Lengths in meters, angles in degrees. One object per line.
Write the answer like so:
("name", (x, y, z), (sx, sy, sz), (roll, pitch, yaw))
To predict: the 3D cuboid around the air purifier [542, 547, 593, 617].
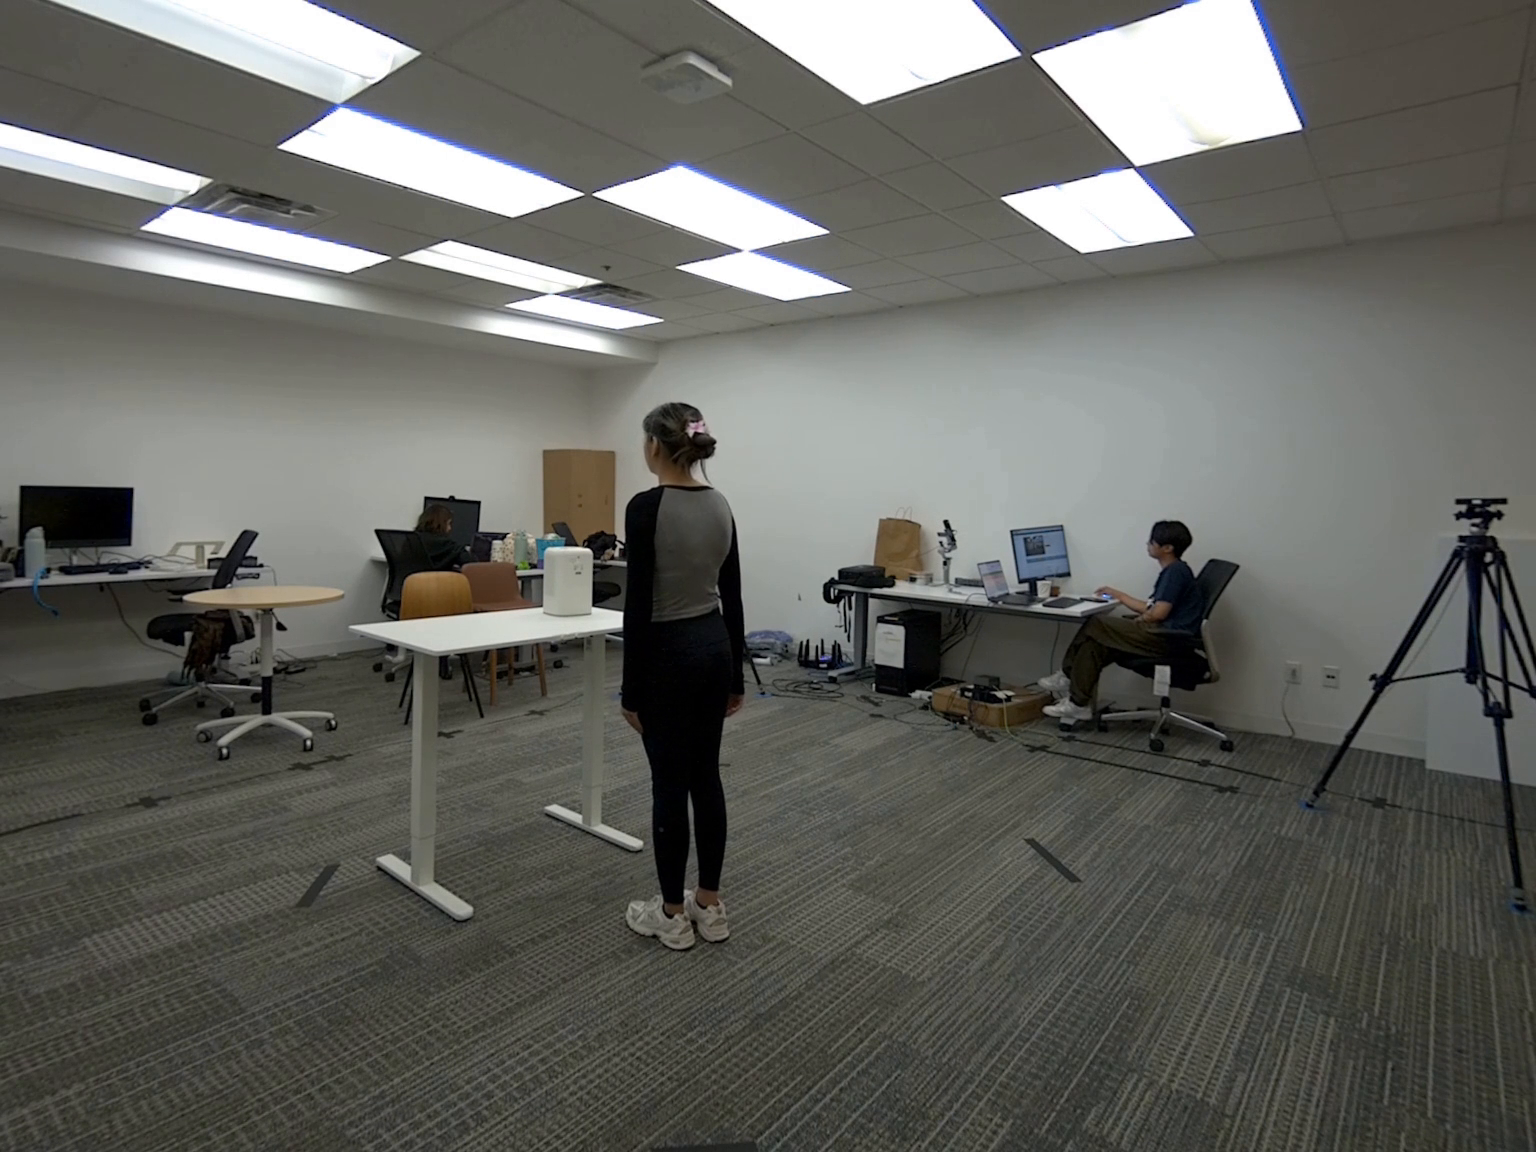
("air purifier", (-0.818, 0.015, 3.431), (0.166, 0.265, 0.177), (1, 4, -40))
